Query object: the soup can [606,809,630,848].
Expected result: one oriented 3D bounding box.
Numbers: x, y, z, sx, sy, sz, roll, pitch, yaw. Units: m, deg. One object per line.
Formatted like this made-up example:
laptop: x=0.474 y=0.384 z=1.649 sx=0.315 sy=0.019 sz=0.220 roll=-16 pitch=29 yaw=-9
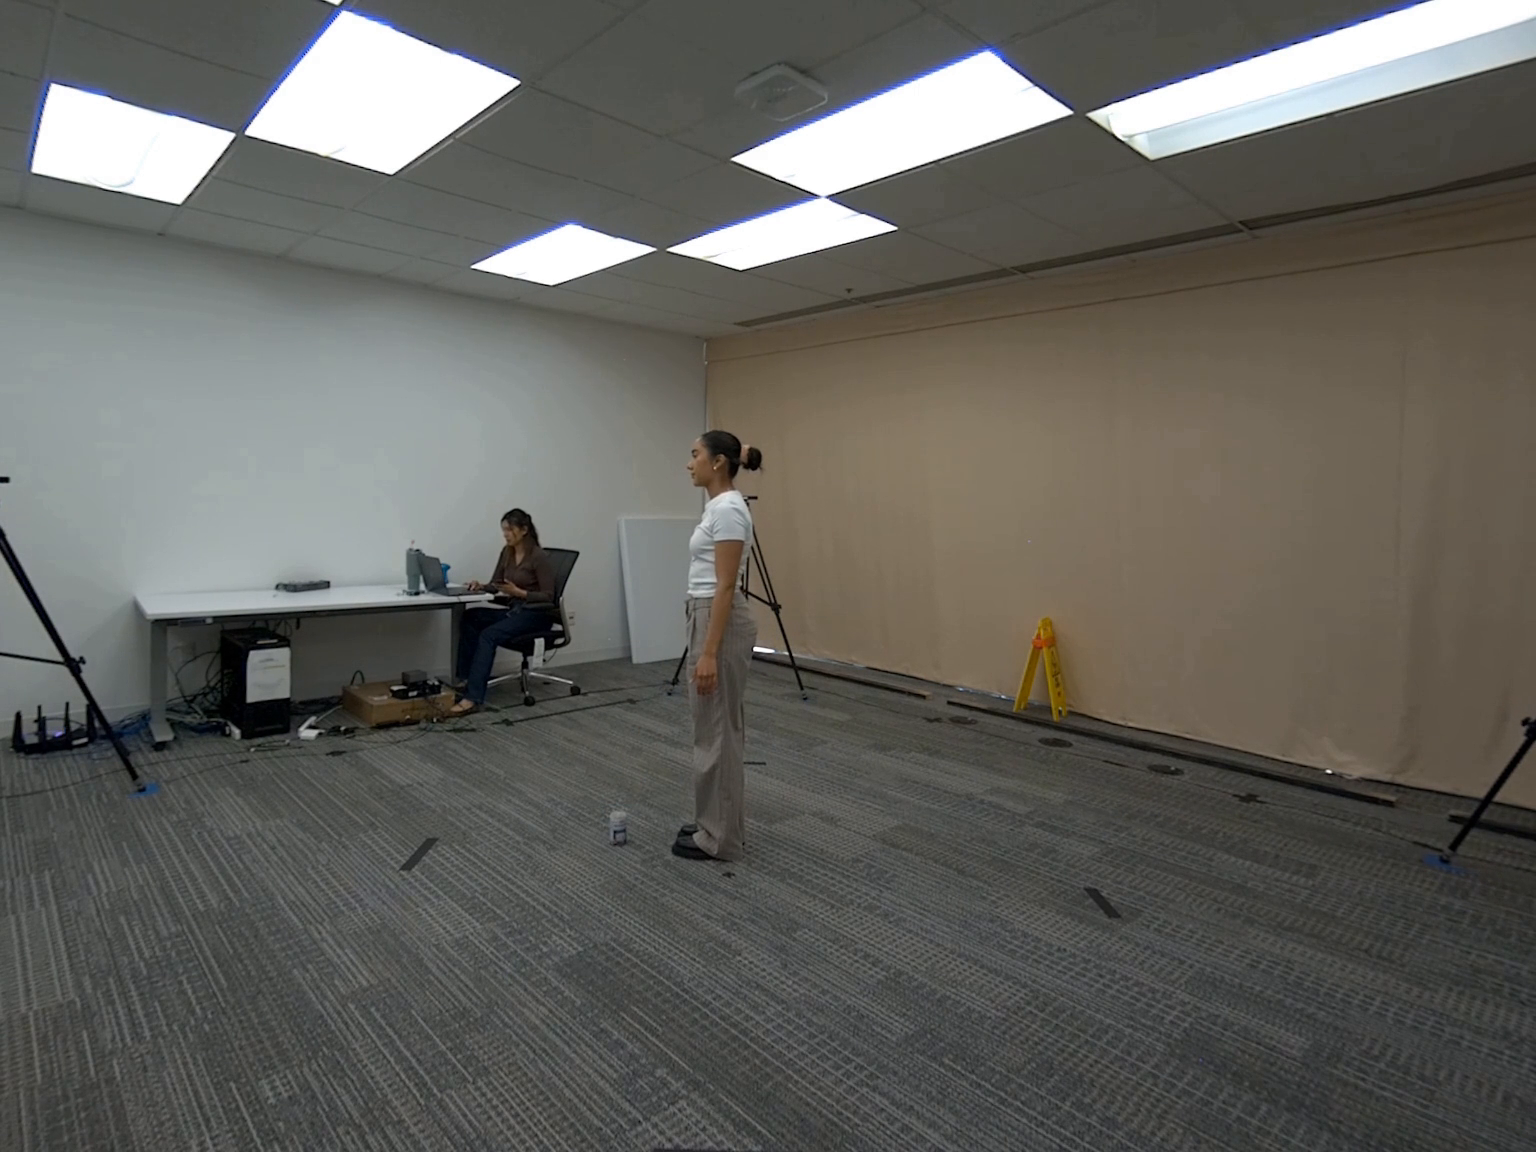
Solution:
soup can: x=-0.601 y=1.004 z=3.358 sx=0.067 sy=0.121 sz=0.067 roll=-2 pitch=1 yaw=-1
